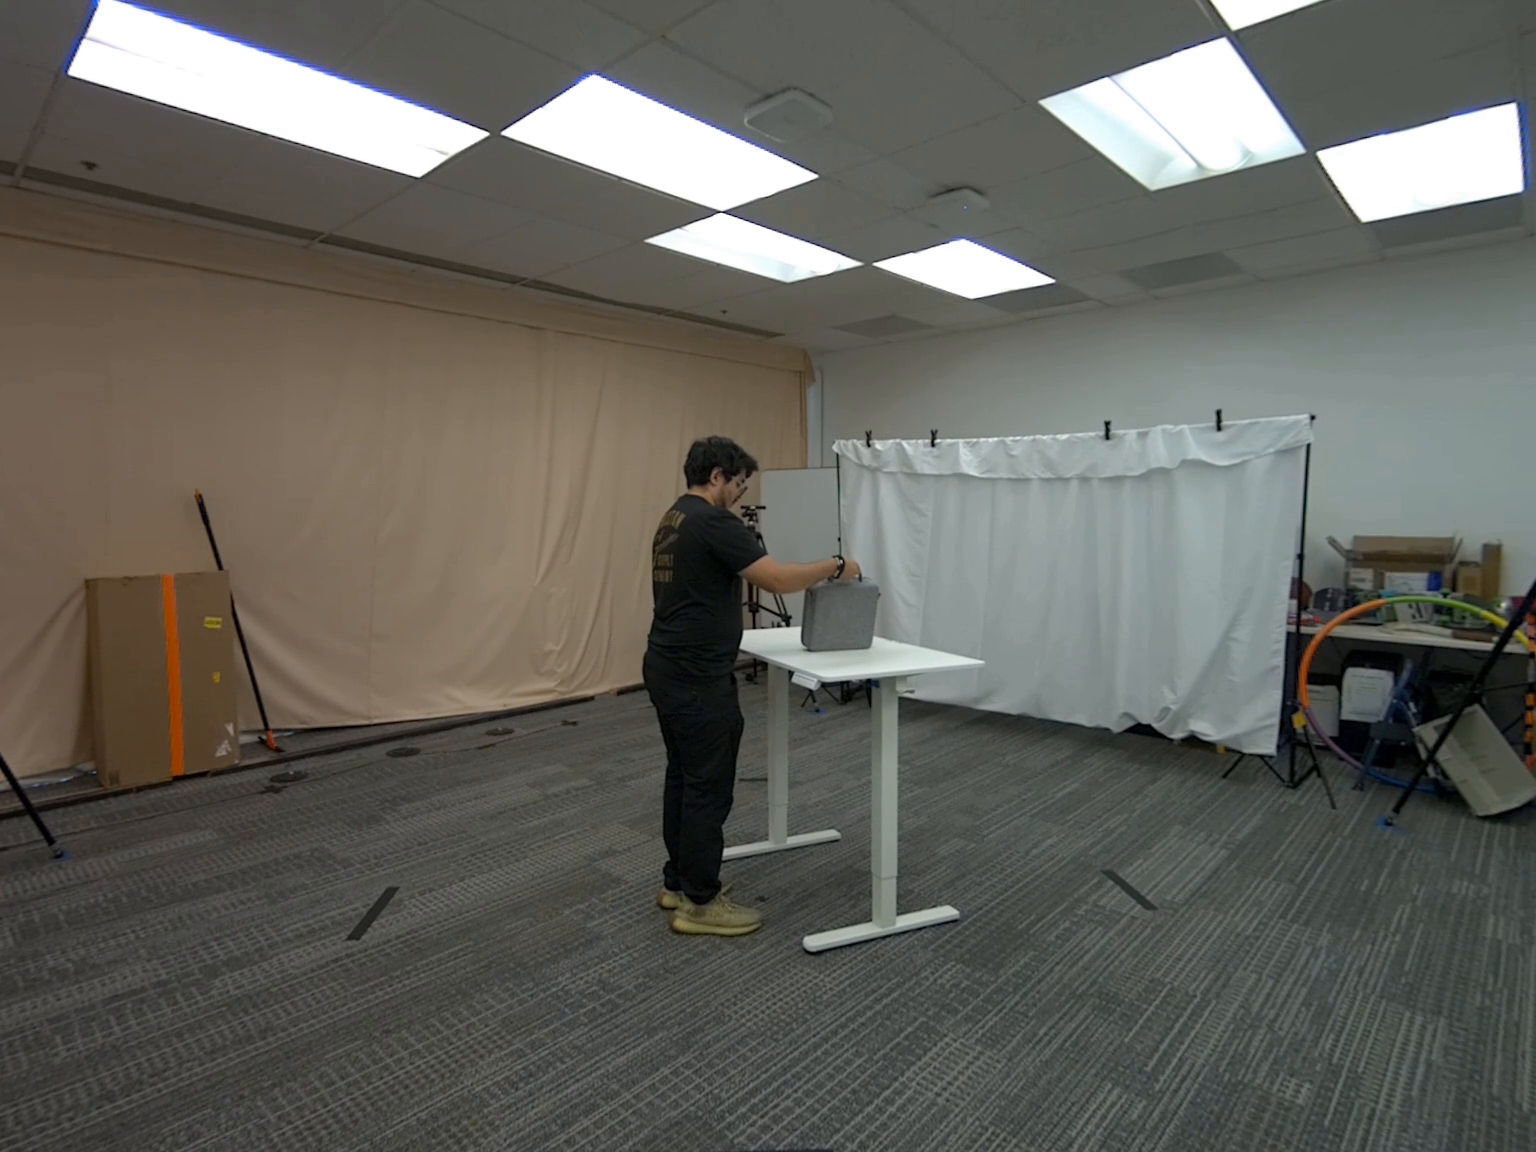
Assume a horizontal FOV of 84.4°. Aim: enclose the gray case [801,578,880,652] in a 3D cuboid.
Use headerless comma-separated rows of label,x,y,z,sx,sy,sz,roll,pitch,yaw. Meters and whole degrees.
gray case,0.259,0.128,2.949,0.252,0.259,0.107,1,12,-17
